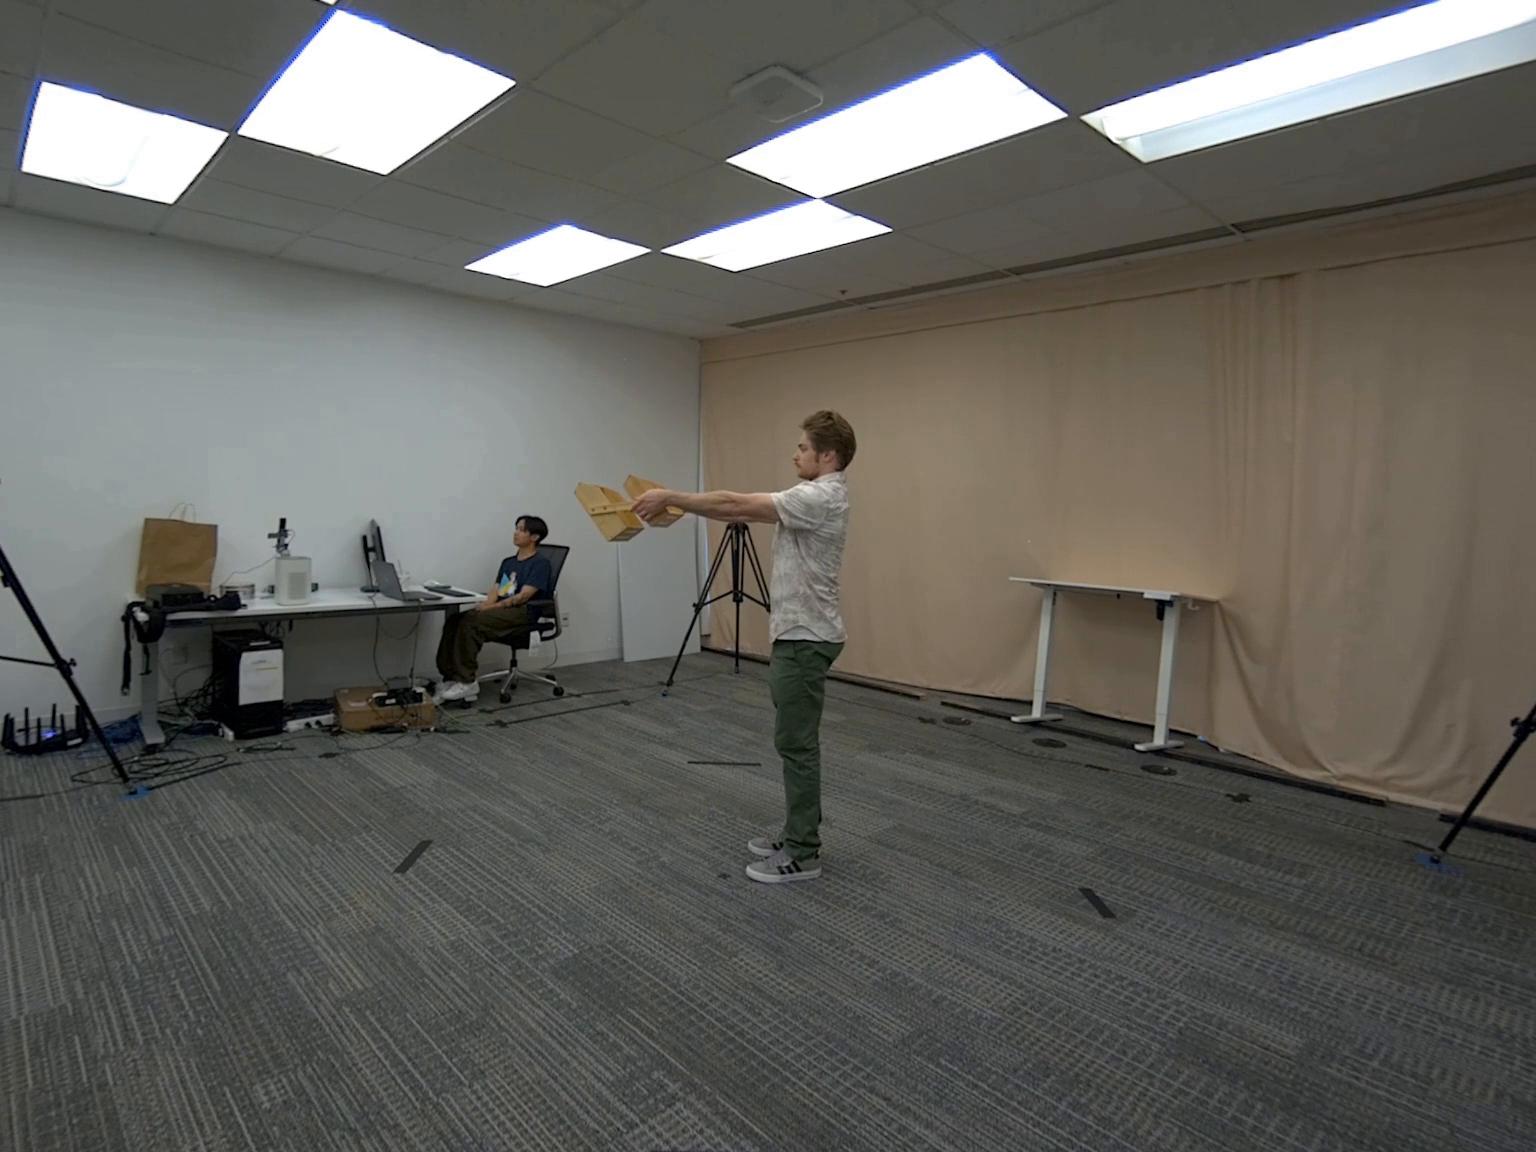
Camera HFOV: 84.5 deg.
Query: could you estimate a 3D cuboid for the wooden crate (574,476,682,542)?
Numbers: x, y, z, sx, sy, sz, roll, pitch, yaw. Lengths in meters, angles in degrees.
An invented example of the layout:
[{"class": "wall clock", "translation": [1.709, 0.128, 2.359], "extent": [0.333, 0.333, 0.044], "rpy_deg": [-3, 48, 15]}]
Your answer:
[{"class": "wooden crate", "translation": [-0.552, -0.293, 3.331], "extent": [0.274, 0.303, 0.322], "rpy_deg": [-35, -3, 7]}]
